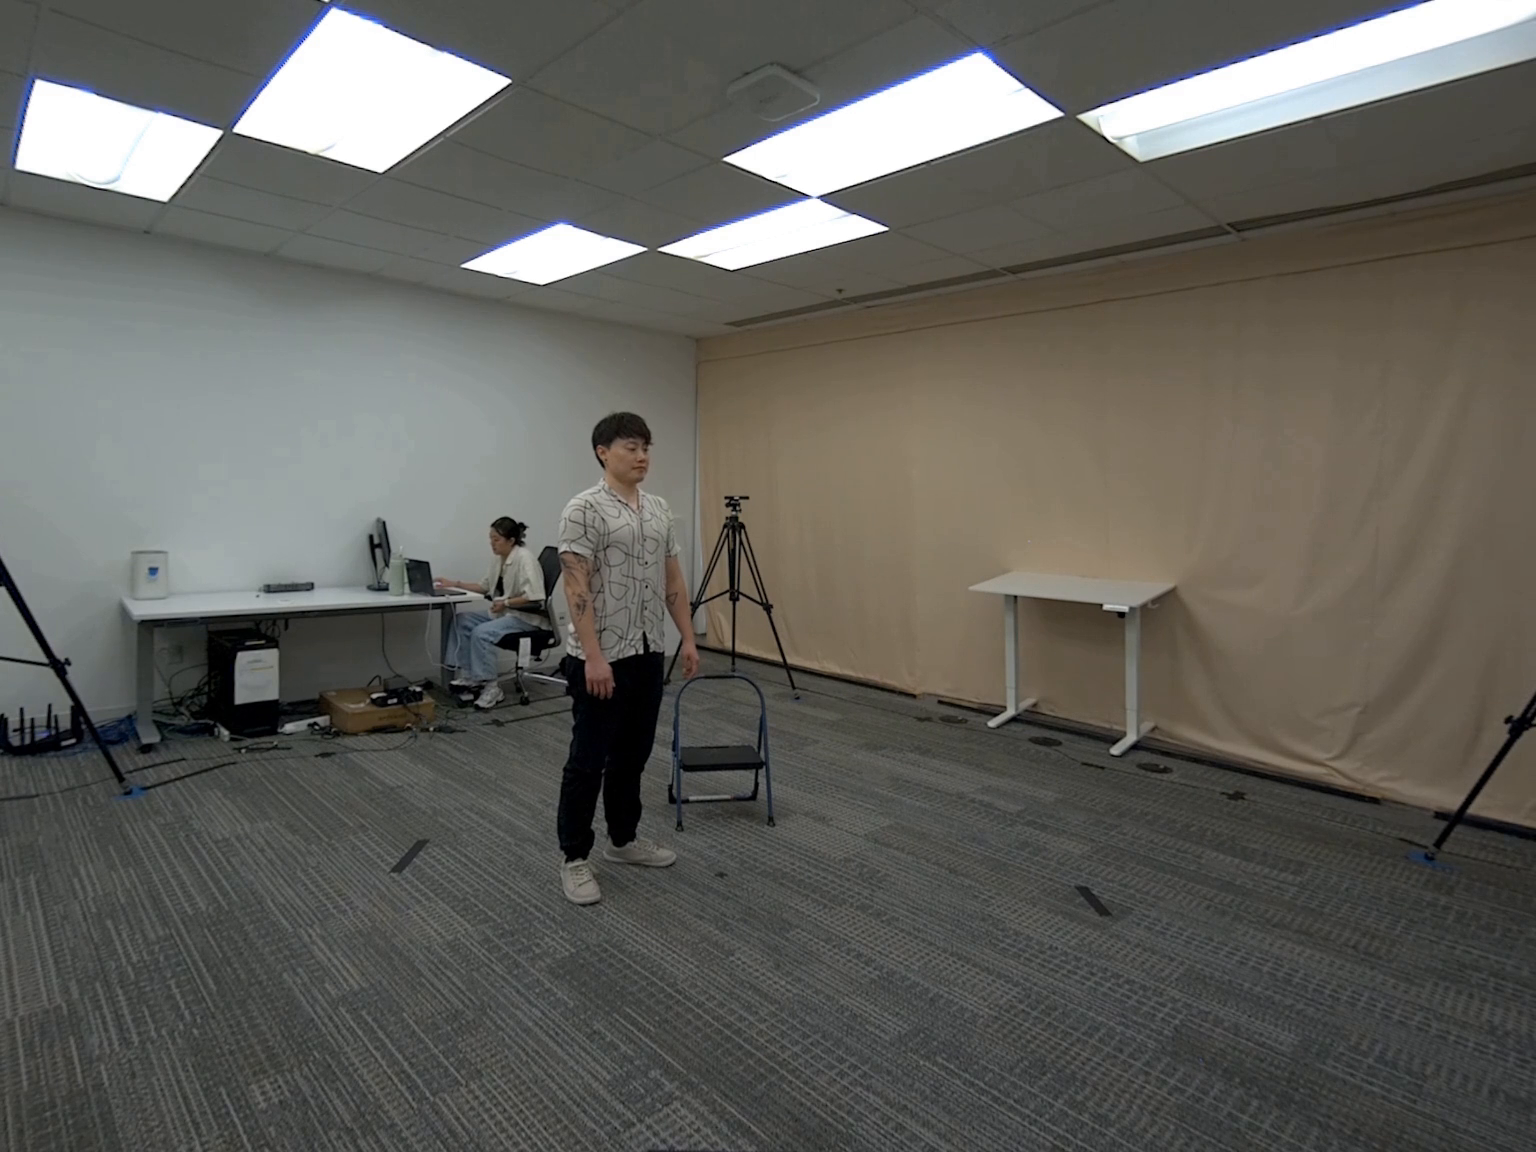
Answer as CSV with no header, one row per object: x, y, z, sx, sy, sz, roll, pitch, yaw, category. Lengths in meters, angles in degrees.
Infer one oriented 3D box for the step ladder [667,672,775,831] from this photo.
-0.215,0.745,3.700,0.426,0.605,0.354,1,3,-13,step ladder
